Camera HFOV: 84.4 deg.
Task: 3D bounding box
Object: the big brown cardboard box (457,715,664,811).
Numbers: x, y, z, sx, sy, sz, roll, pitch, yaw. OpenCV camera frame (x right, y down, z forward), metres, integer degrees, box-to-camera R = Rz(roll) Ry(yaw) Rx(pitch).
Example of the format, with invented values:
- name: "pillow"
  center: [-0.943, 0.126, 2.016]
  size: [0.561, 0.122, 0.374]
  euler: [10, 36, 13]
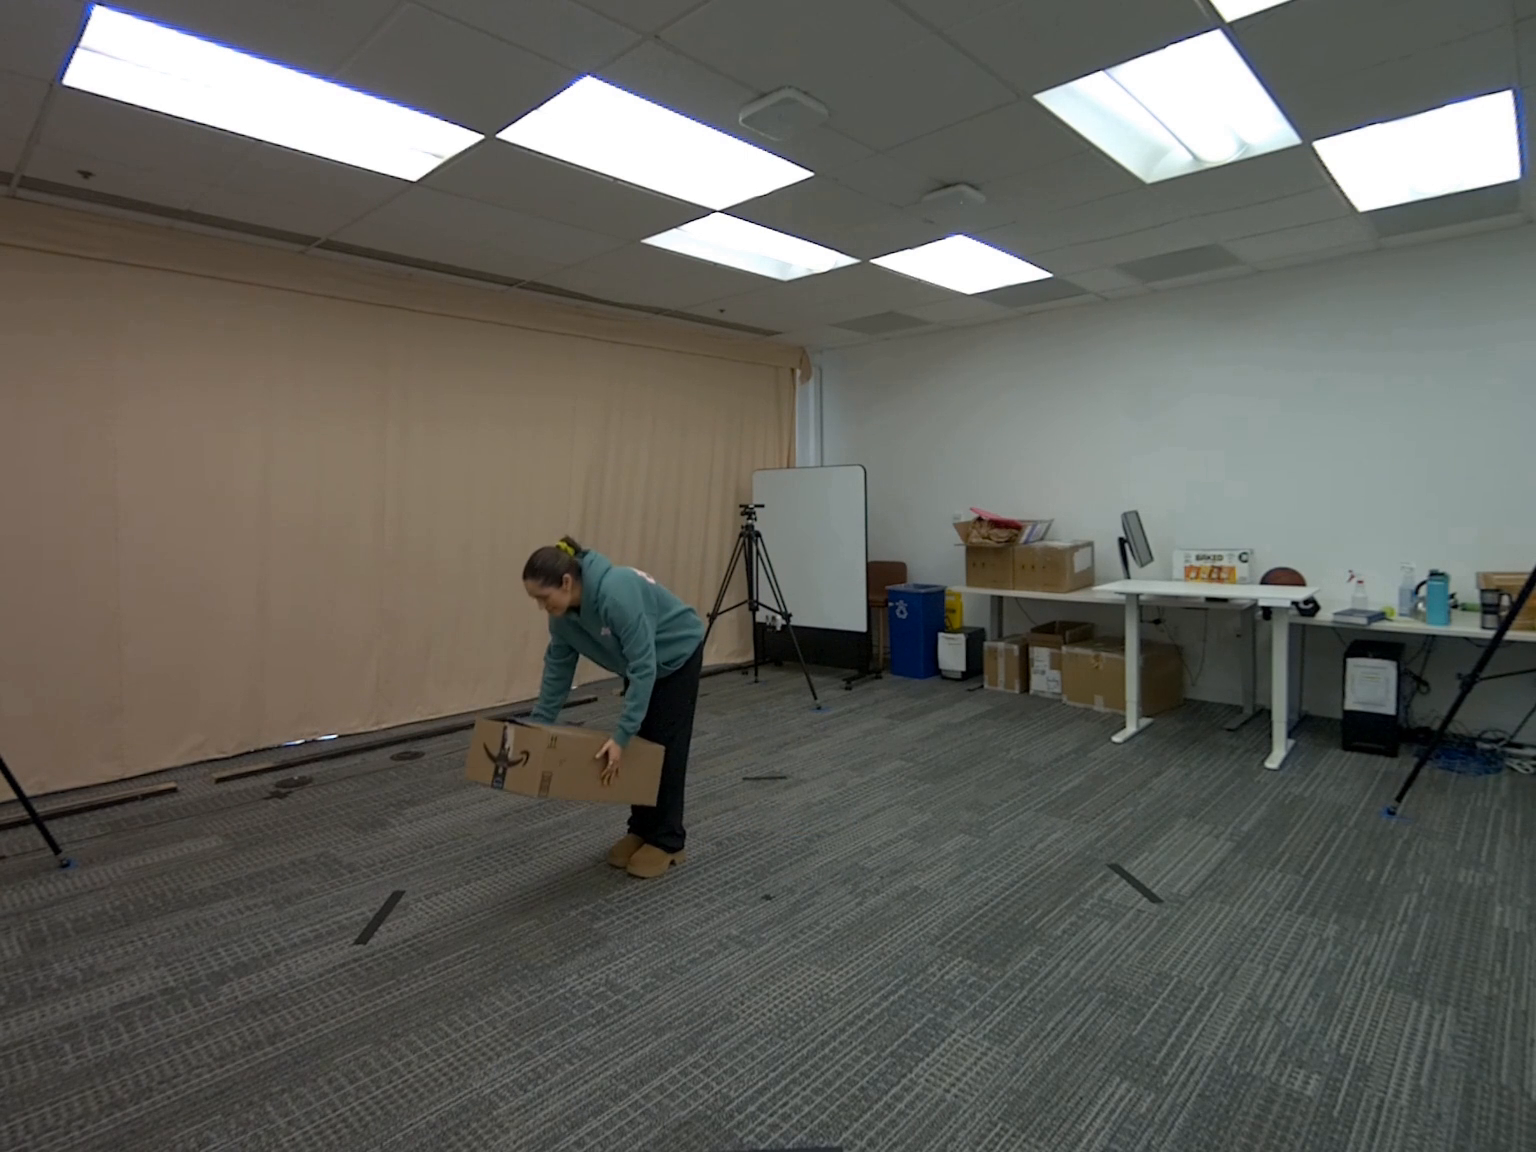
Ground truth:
- name: "big brown cardboard box"
  center: [-0.722, 0.674, 3.037]
  size: [0.431, 0.234, 0.568]
  euler: [0, -14, 39]
